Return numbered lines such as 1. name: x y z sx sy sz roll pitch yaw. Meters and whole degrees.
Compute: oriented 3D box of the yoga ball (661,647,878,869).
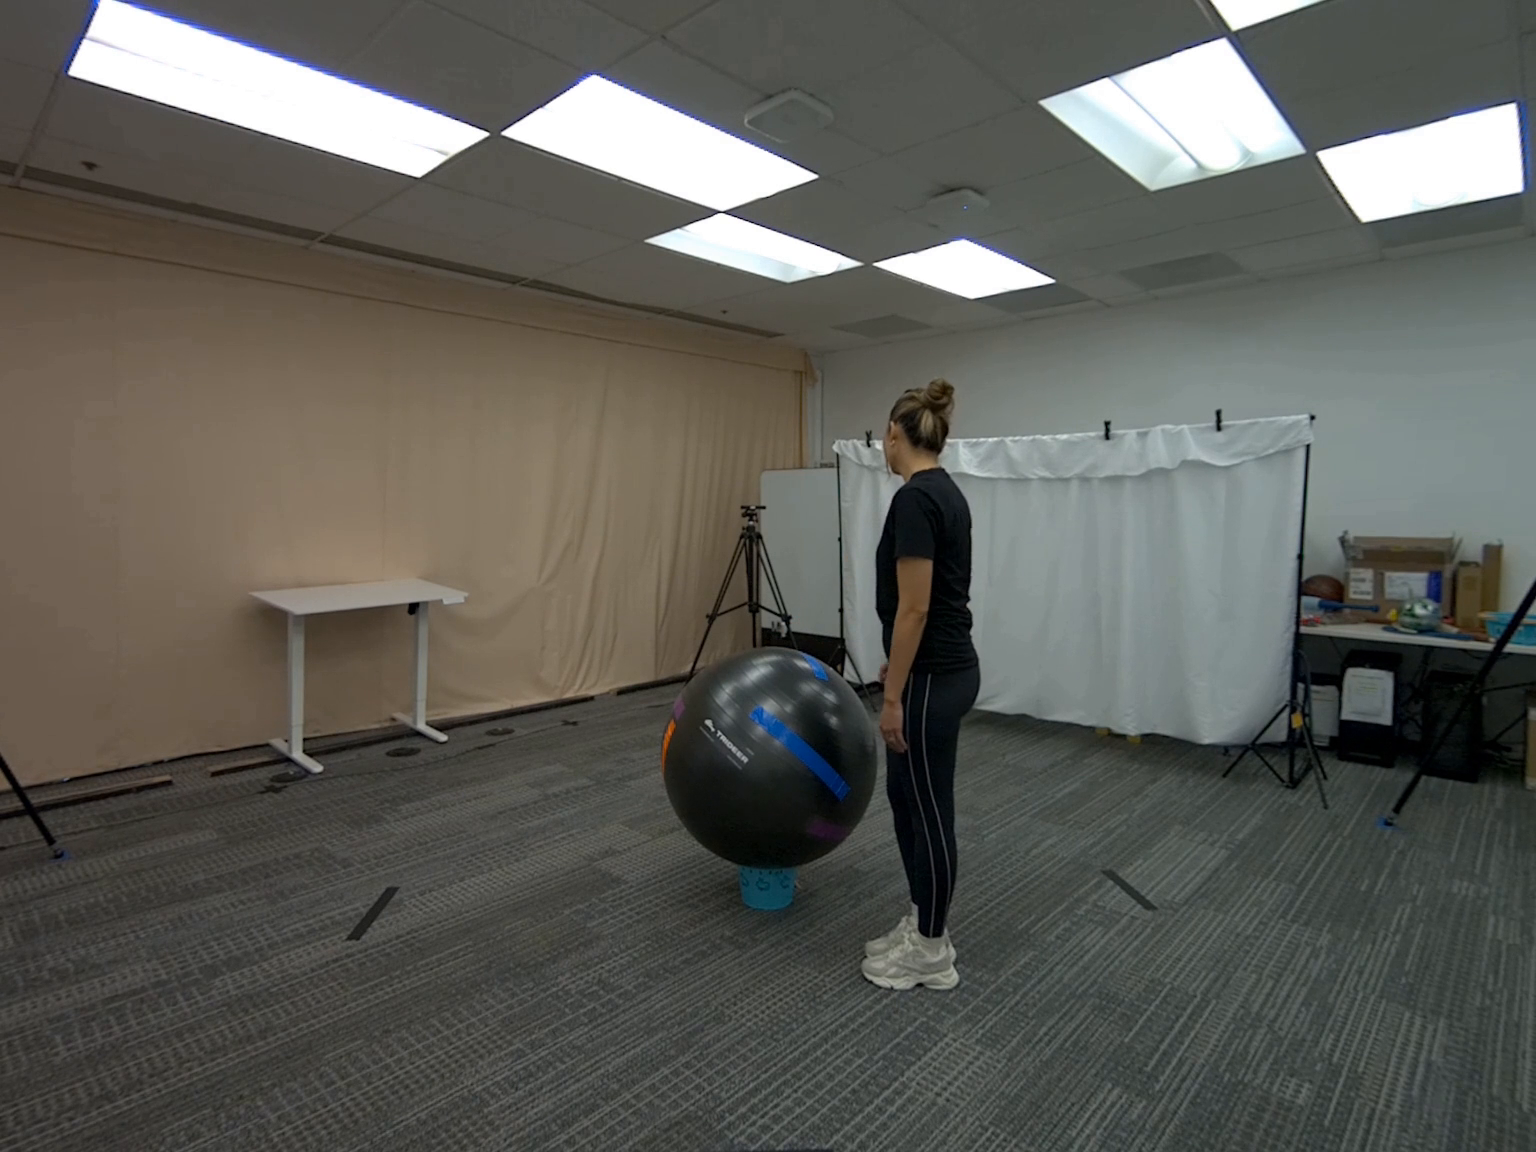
1. yoga ball: 0.009 0.636 2.967 0.757 0.756 0.760 0 4 -2
